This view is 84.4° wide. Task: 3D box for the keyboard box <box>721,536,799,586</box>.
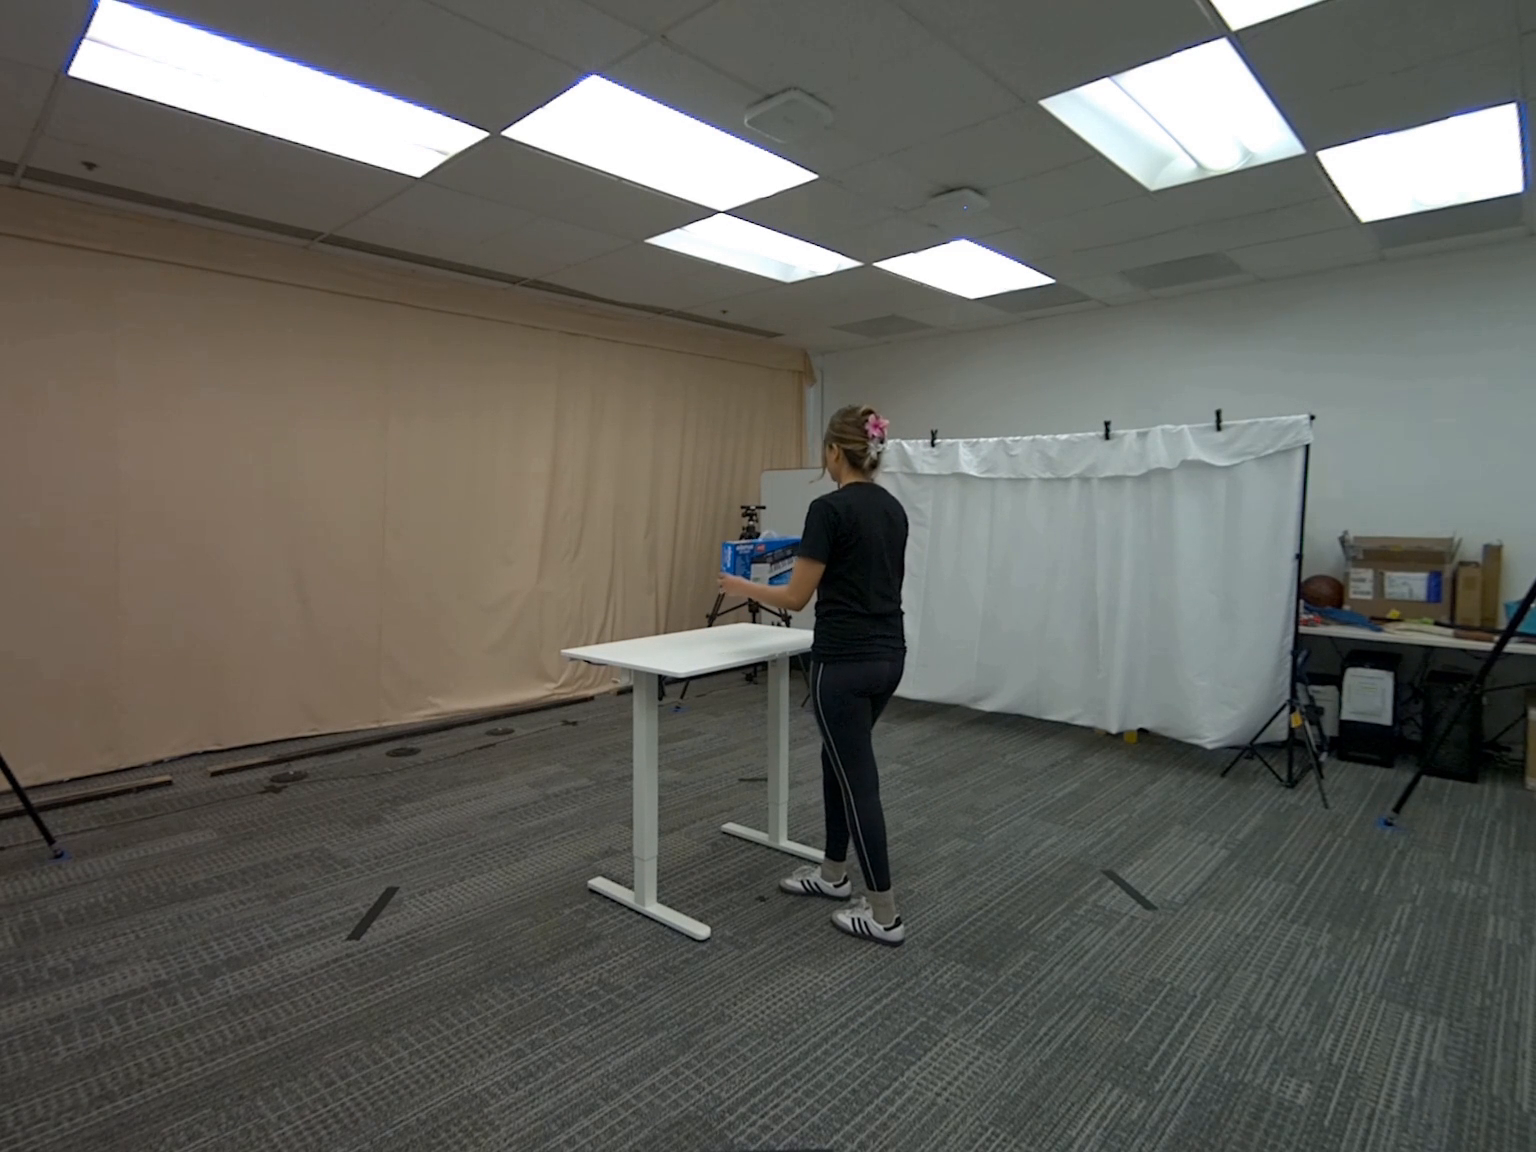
[{"bbox_3d":[0.006,-0.043,3.091,0.061,0.175,0.424,8,10,42],"label":"keyboard box"}]
